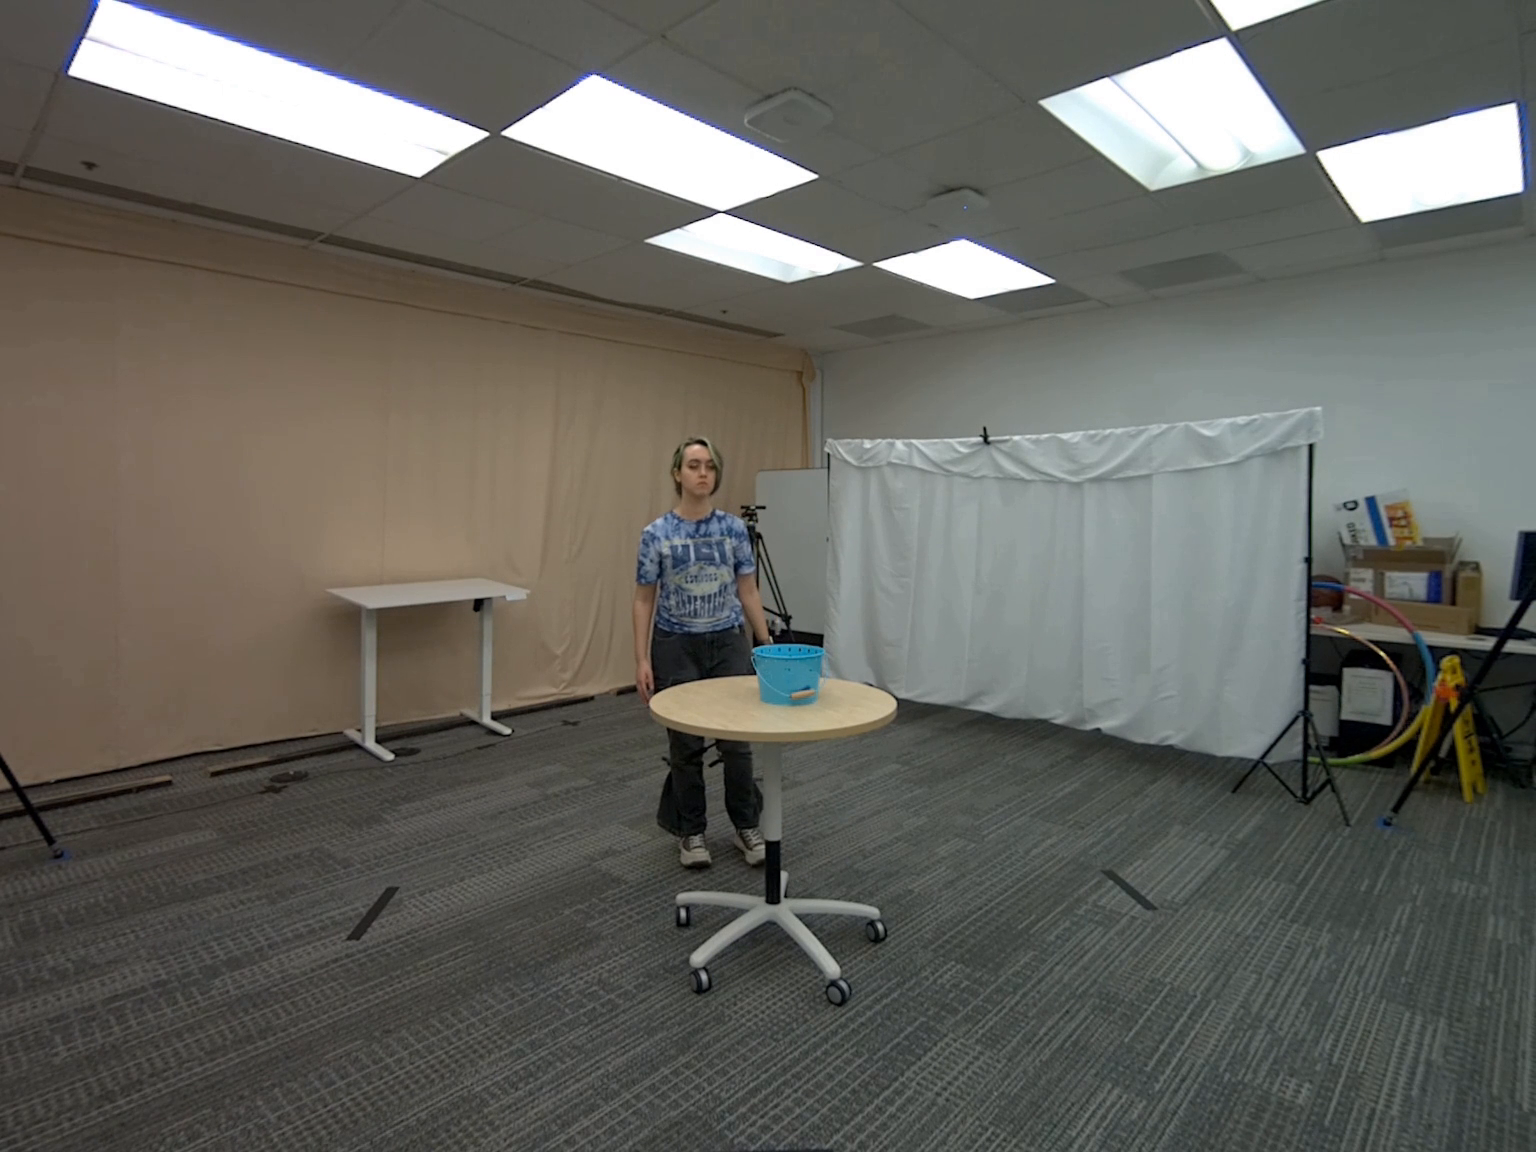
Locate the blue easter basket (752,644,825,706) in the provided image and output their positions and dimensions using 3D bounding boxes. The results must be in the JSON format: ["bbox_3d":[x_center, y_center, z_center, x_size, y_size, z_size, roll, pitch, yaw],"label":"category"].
[{"bbox_3d":[0.069,0.315,2.631,0.243,0.155,0.244,-1,4,-2],"label":"blue easter basket"}]
